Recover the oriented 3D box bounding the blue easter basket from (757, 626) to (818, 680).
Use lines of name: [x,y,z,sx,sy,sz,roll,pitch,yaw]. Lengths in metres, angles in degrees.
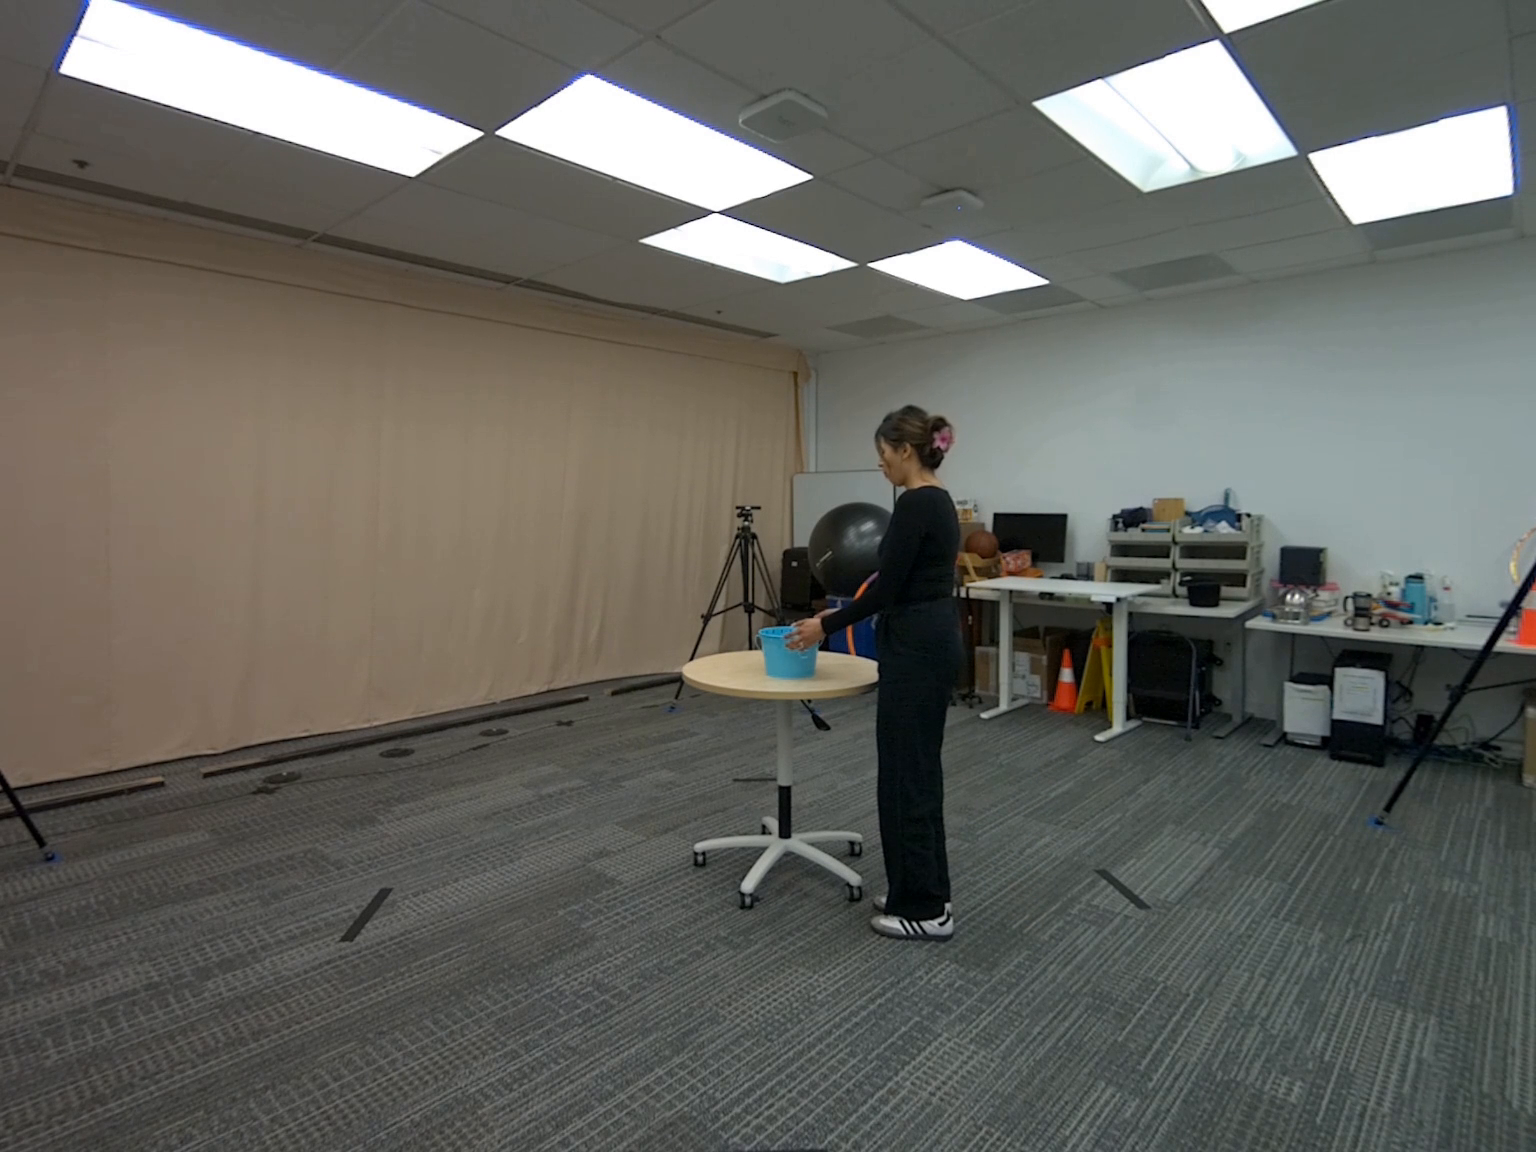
blue easter basket: [0.093,0.281,3.067,0.243,0.155,0.244,1,5,-2]
